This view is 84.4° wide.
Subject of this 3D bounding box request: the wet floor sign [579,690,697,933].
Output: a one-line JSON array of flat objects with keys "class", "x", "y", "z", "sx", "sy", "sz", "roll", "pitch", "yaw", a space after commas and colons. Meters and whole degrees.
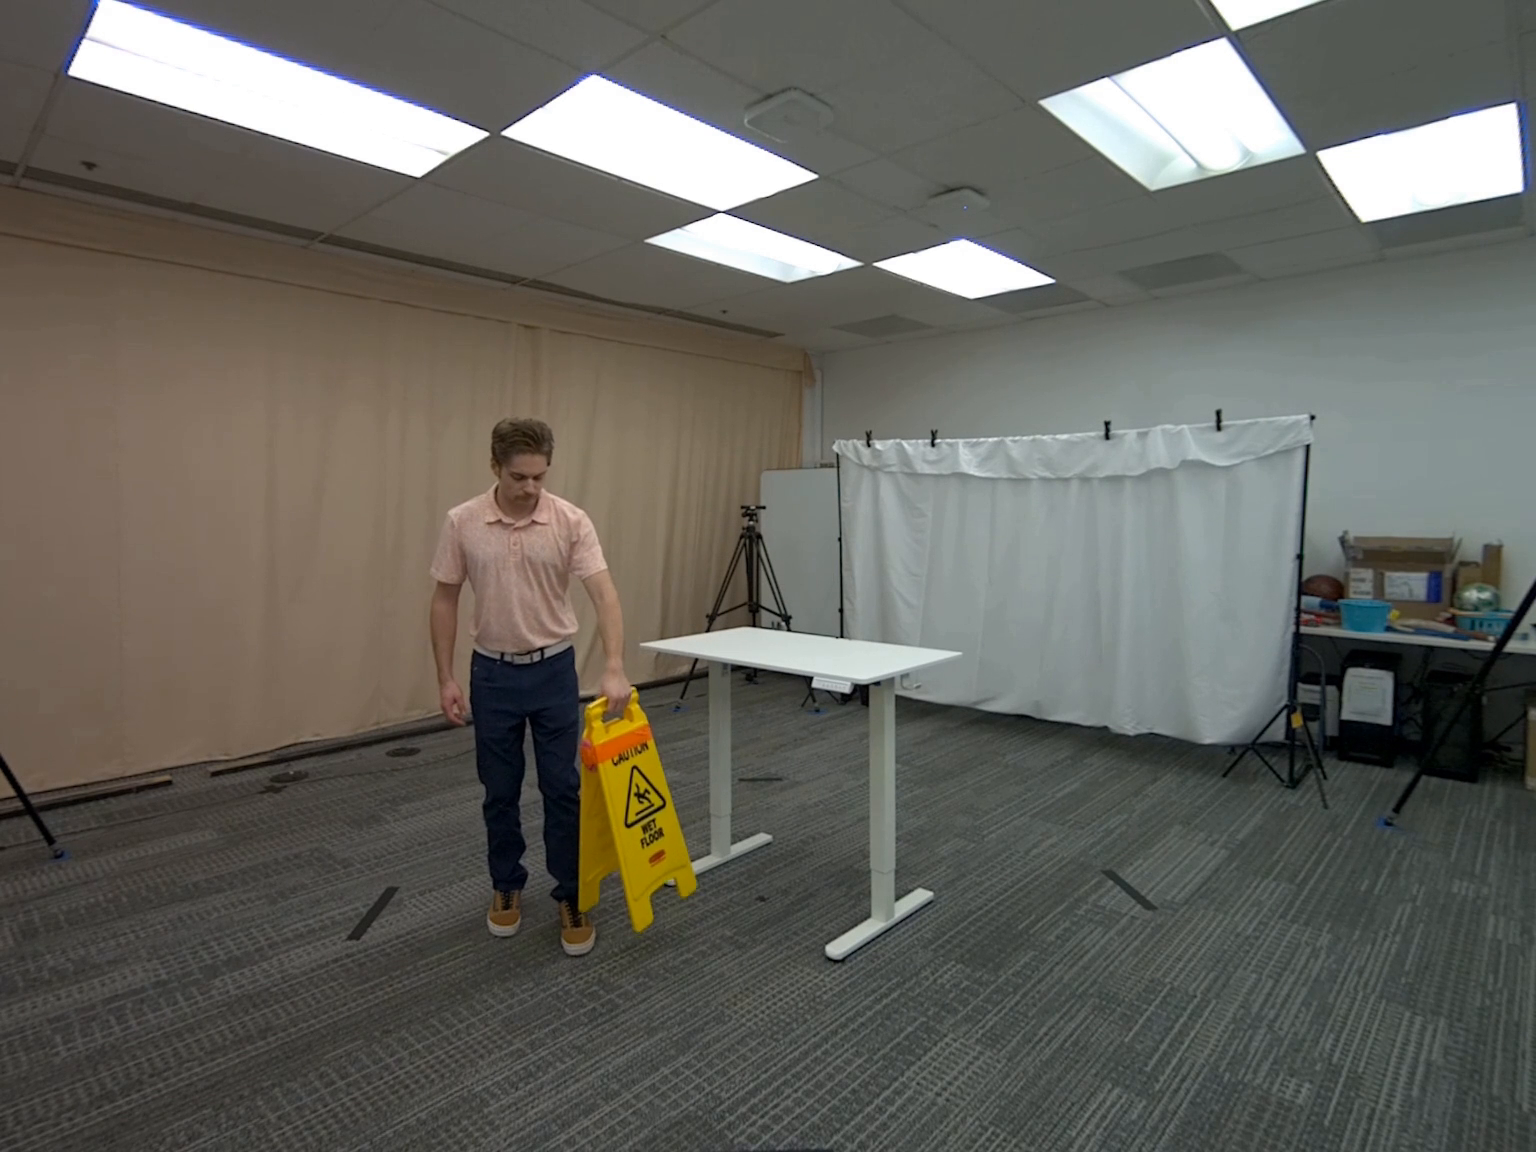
[{"class": "wet floor sign", "x": -0.437, "y": 0.681, "z": 2.537, "sx": 0.298, "sy": 0.643, "sz": 0.275, "roll": -3, "pitch": 7, "yaw": 37}]
